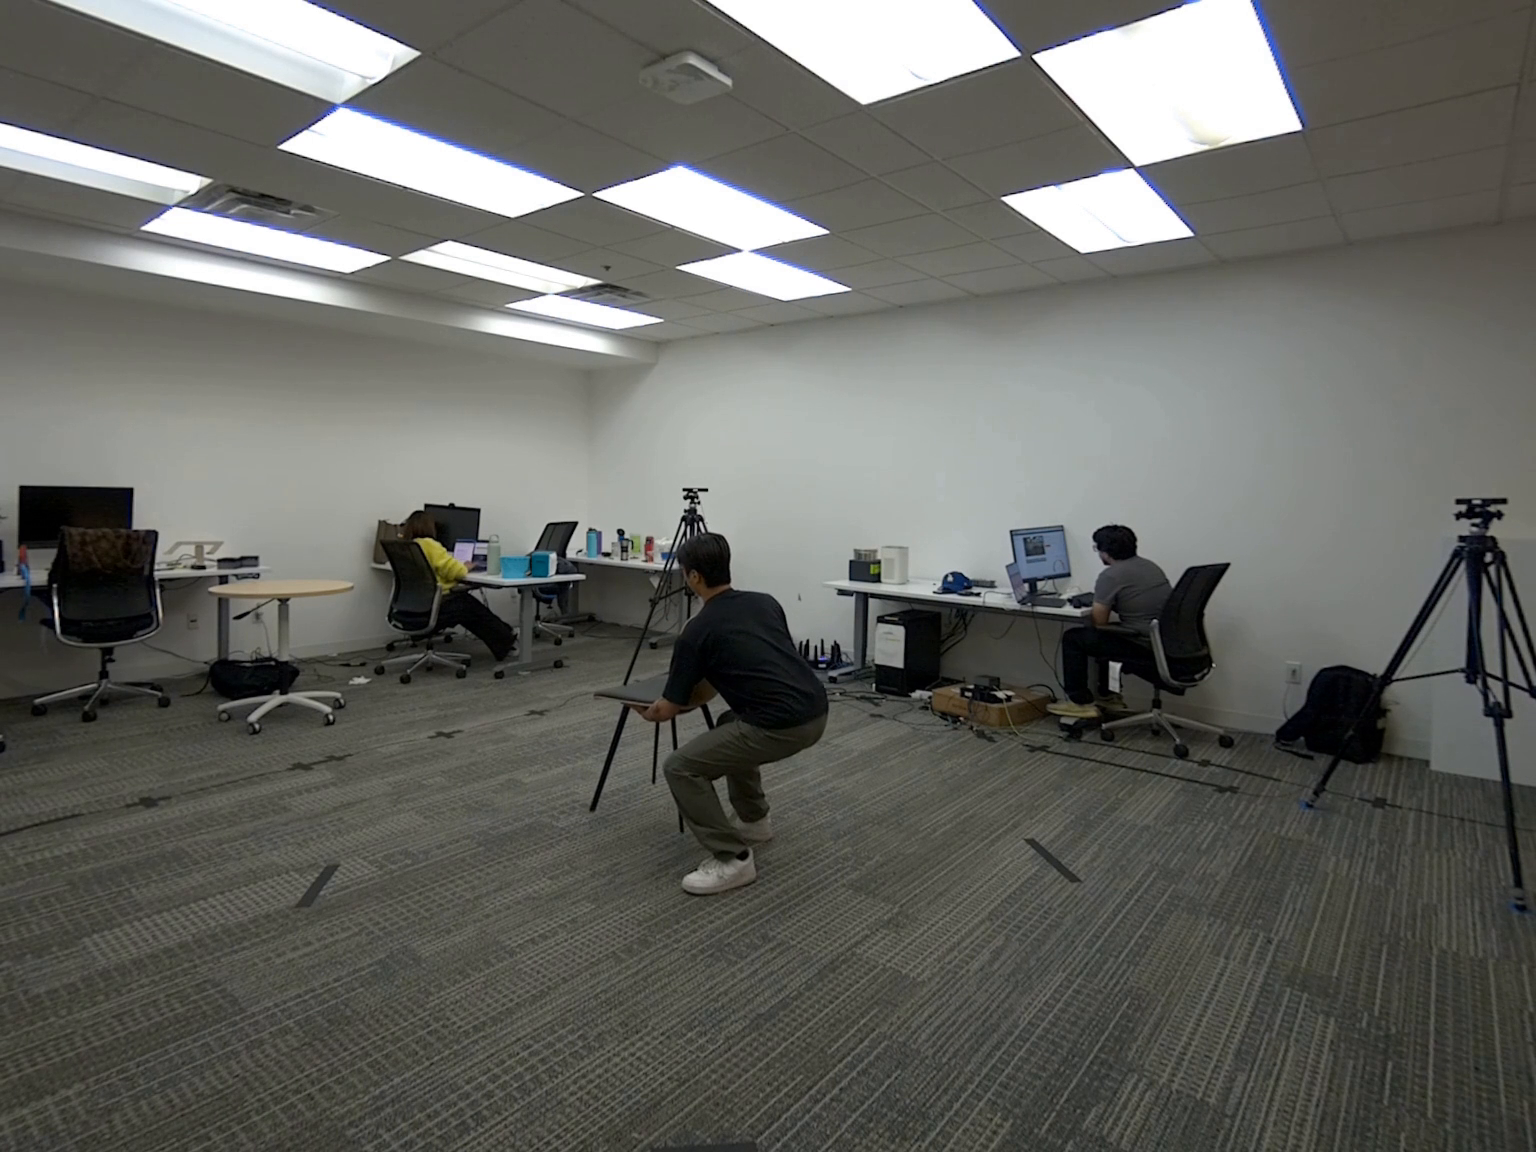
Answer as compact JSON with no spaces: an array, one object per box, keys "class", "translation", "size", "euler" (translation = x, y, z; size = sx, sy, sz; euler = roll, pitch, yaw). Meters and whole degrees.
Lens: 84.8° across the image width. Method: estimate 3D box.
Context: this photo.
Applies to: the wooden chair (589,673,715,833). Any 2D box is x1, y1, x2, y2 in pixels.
[{"class":"wooden chair","translation":[-0.441,0.531,3.542],"size":[0.539,0.874,0.465],"euler":[7,5,29]}]
